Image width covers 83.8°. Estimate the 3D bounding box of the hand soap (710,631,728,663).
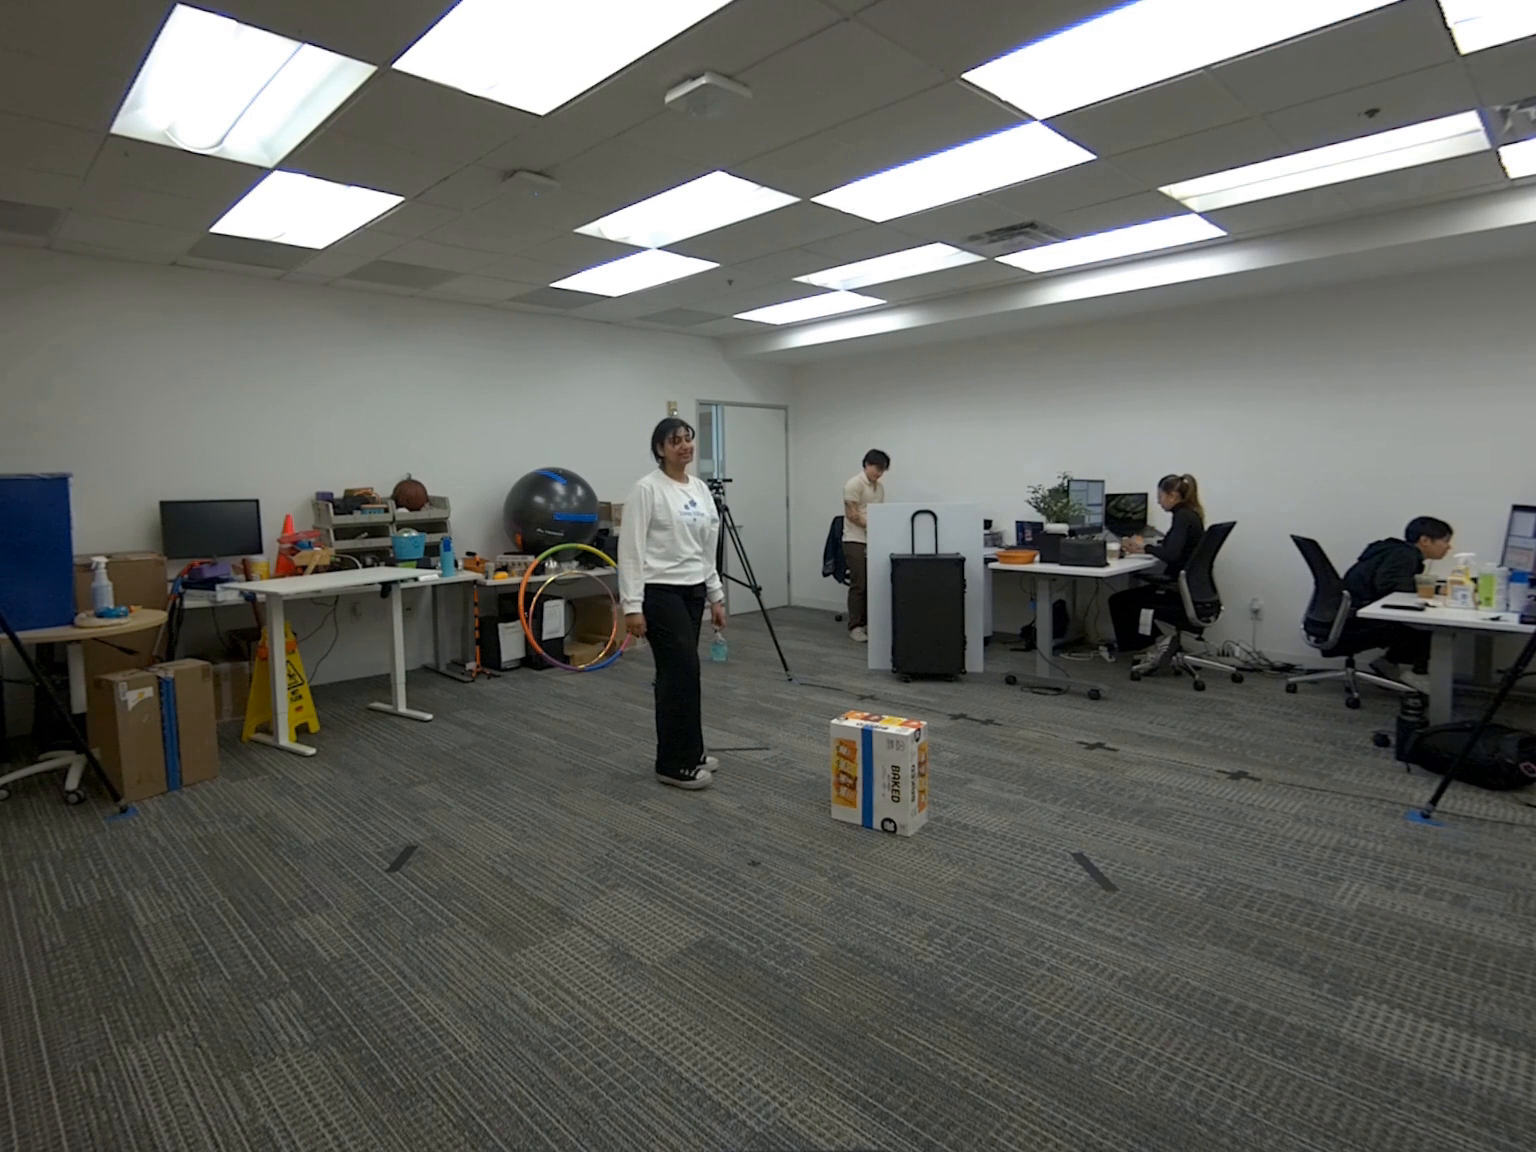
[{"bbox_3d":[-0.252,0.328,4.187,0.085,0.167,0.043,-2,7,5],"label":"hand soap"}]
